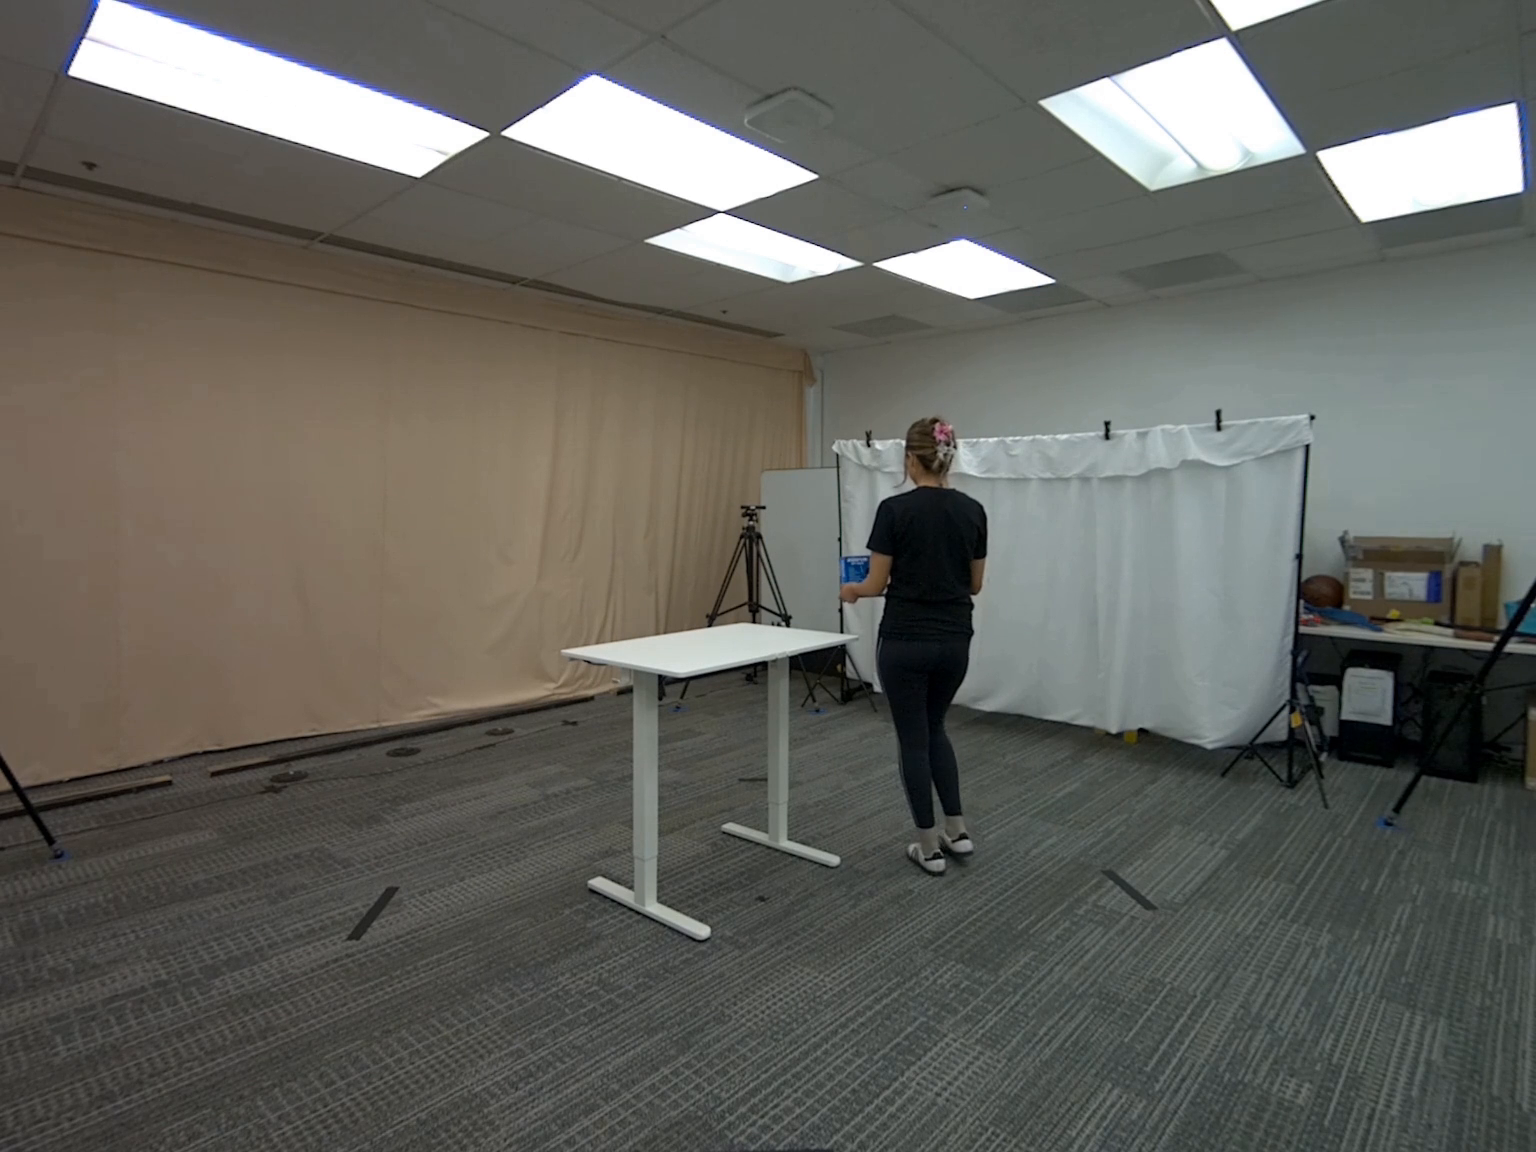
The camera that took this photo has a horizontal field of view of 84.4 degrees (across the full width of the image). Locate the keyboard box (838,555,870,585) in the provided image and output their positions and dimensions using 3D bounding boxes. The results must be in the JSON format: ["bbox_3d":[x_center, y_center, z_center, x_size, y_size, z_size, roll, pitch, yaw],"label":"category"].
[{"bbox_3d":[0.542,-0.003,3.575,0.431,0.176,0.060,-3,-5,-14],"label":"keyboard box"}]
